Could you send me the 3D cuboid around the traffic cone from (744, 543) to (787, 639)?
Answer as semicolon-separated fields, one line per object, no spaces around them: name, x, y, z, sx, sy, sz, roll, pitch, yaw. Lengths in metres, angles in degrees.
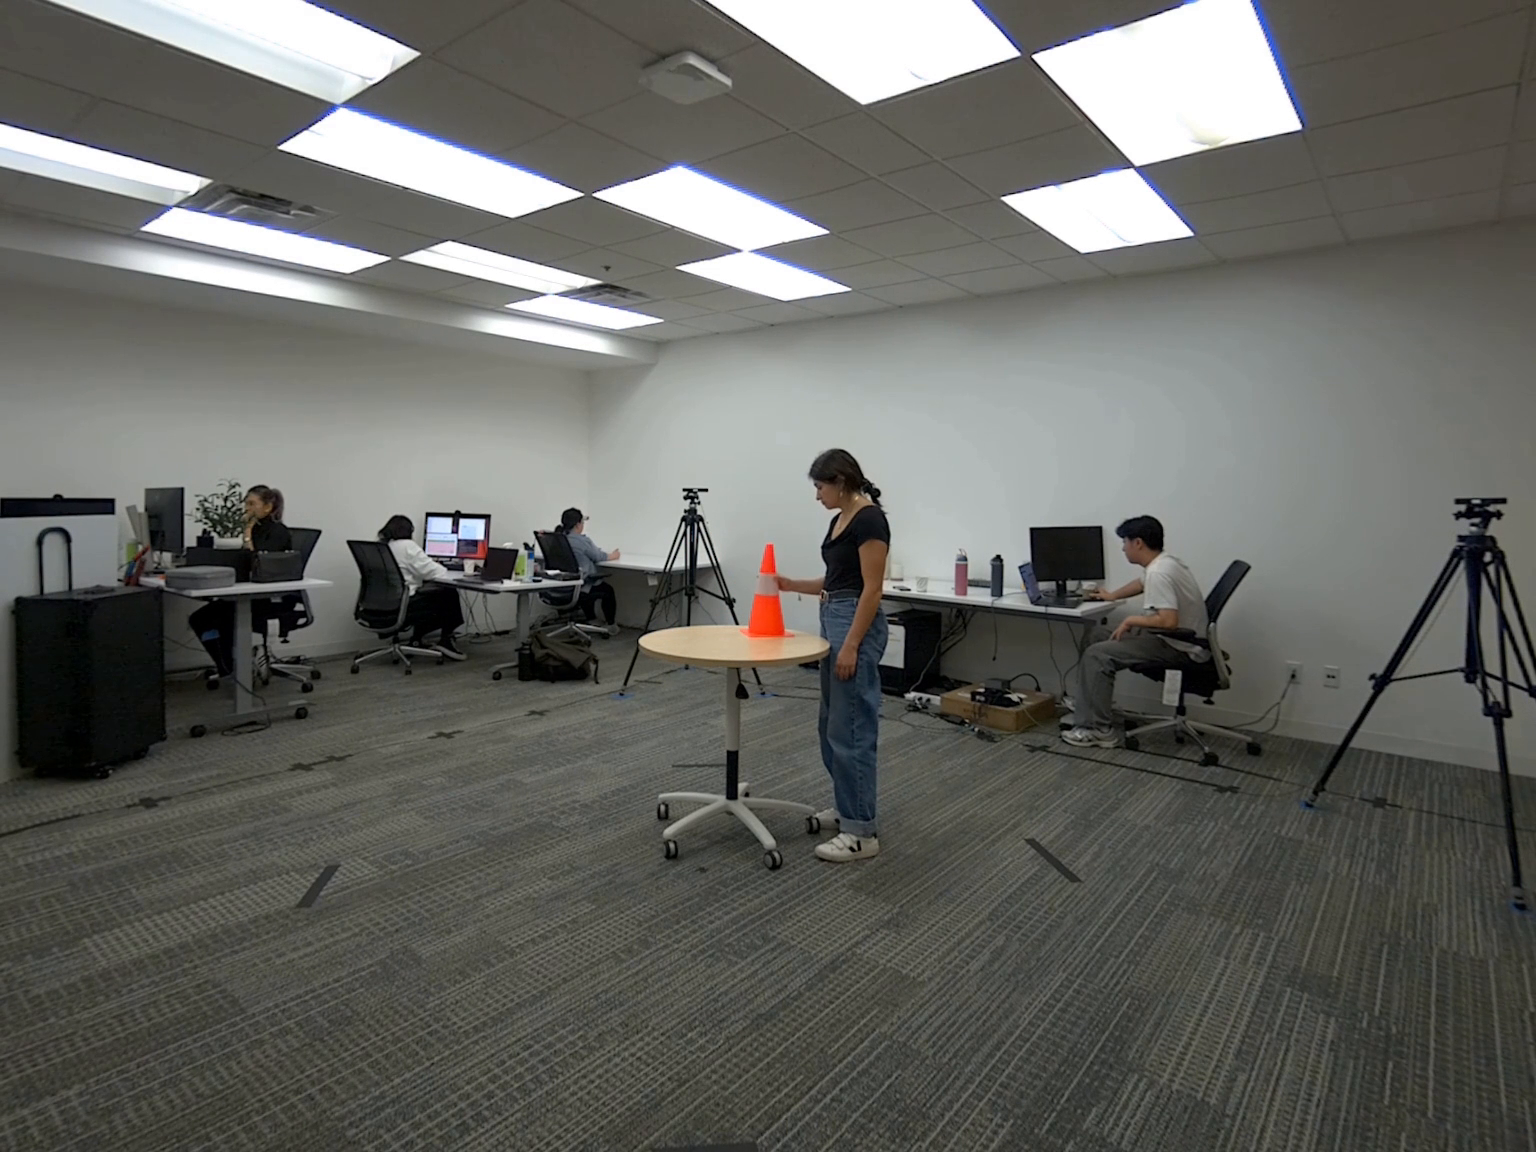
traffic cone;0.012;0.048;3.620;0.202;0.382;0.208;3;6;-15
